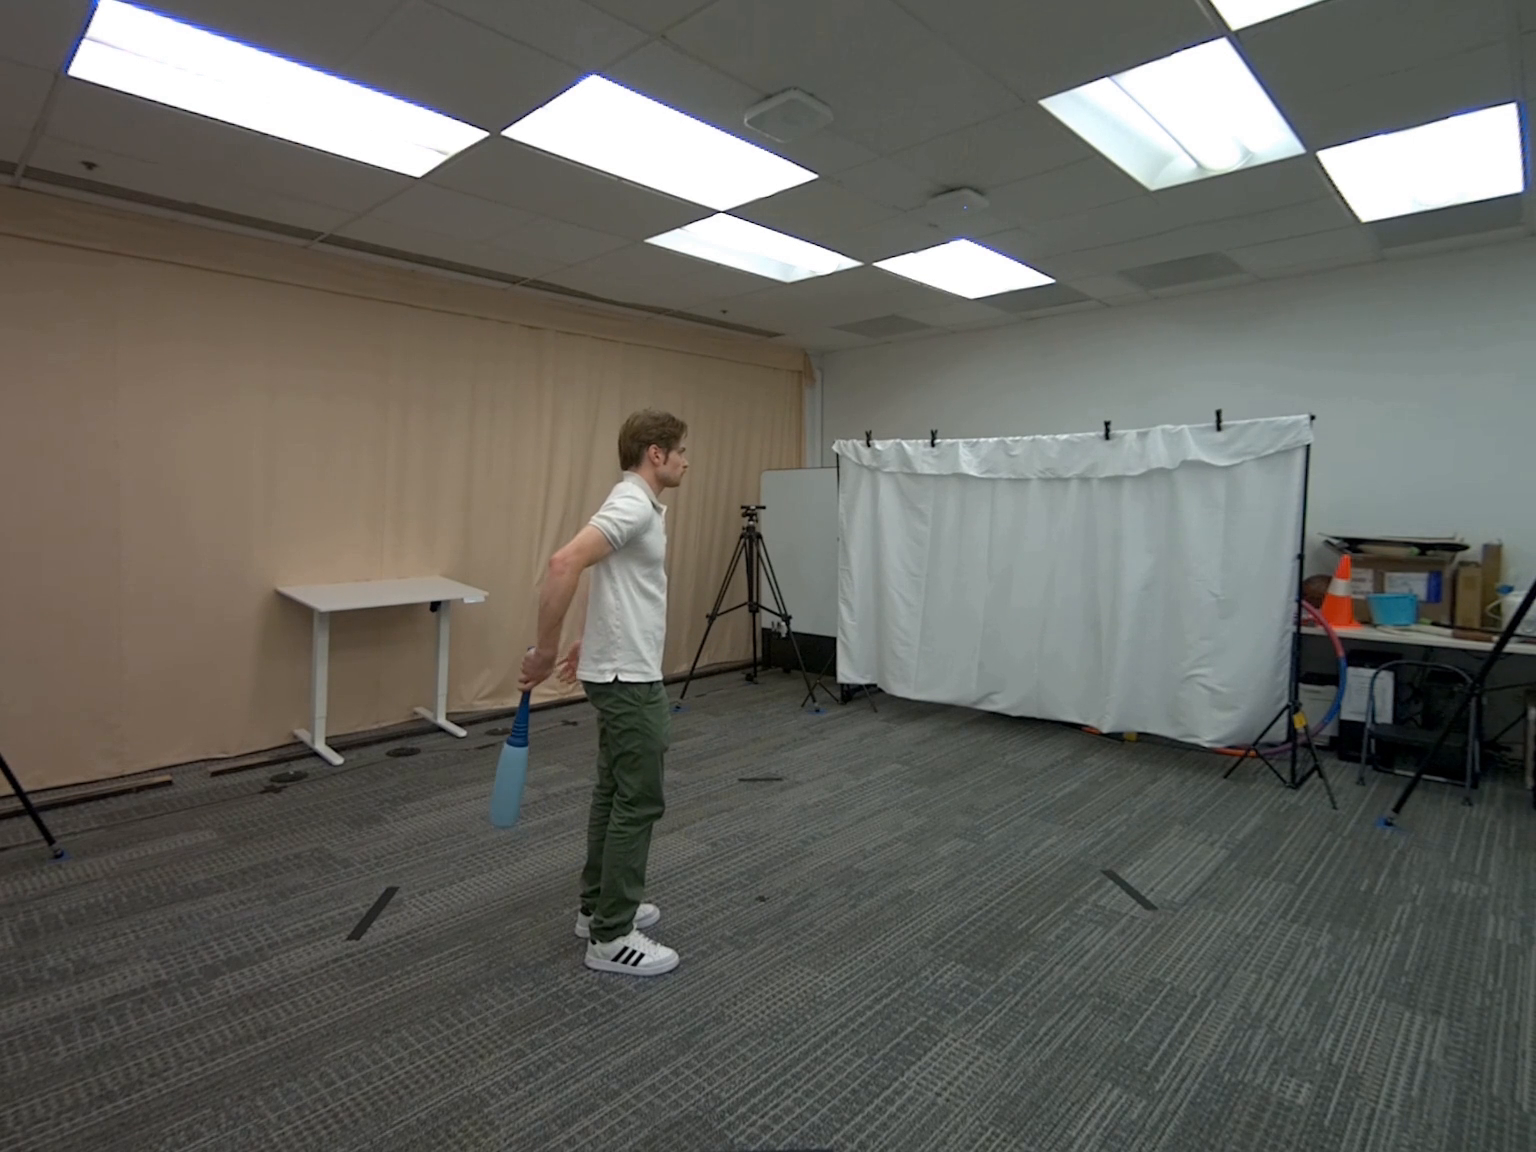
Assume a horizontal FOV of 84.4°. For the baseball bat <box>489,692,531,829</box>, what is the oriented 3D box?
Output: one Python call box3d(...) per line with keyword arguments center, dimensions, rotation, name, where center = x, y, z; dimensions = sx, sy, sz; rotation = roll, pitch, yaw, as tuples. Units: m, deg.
box3d(center=(-0.713, 0.478, 2.472), dimensions=(0.089, 0.541, 0.089), rotation=(10, 6, -3), name="baseball bat")
